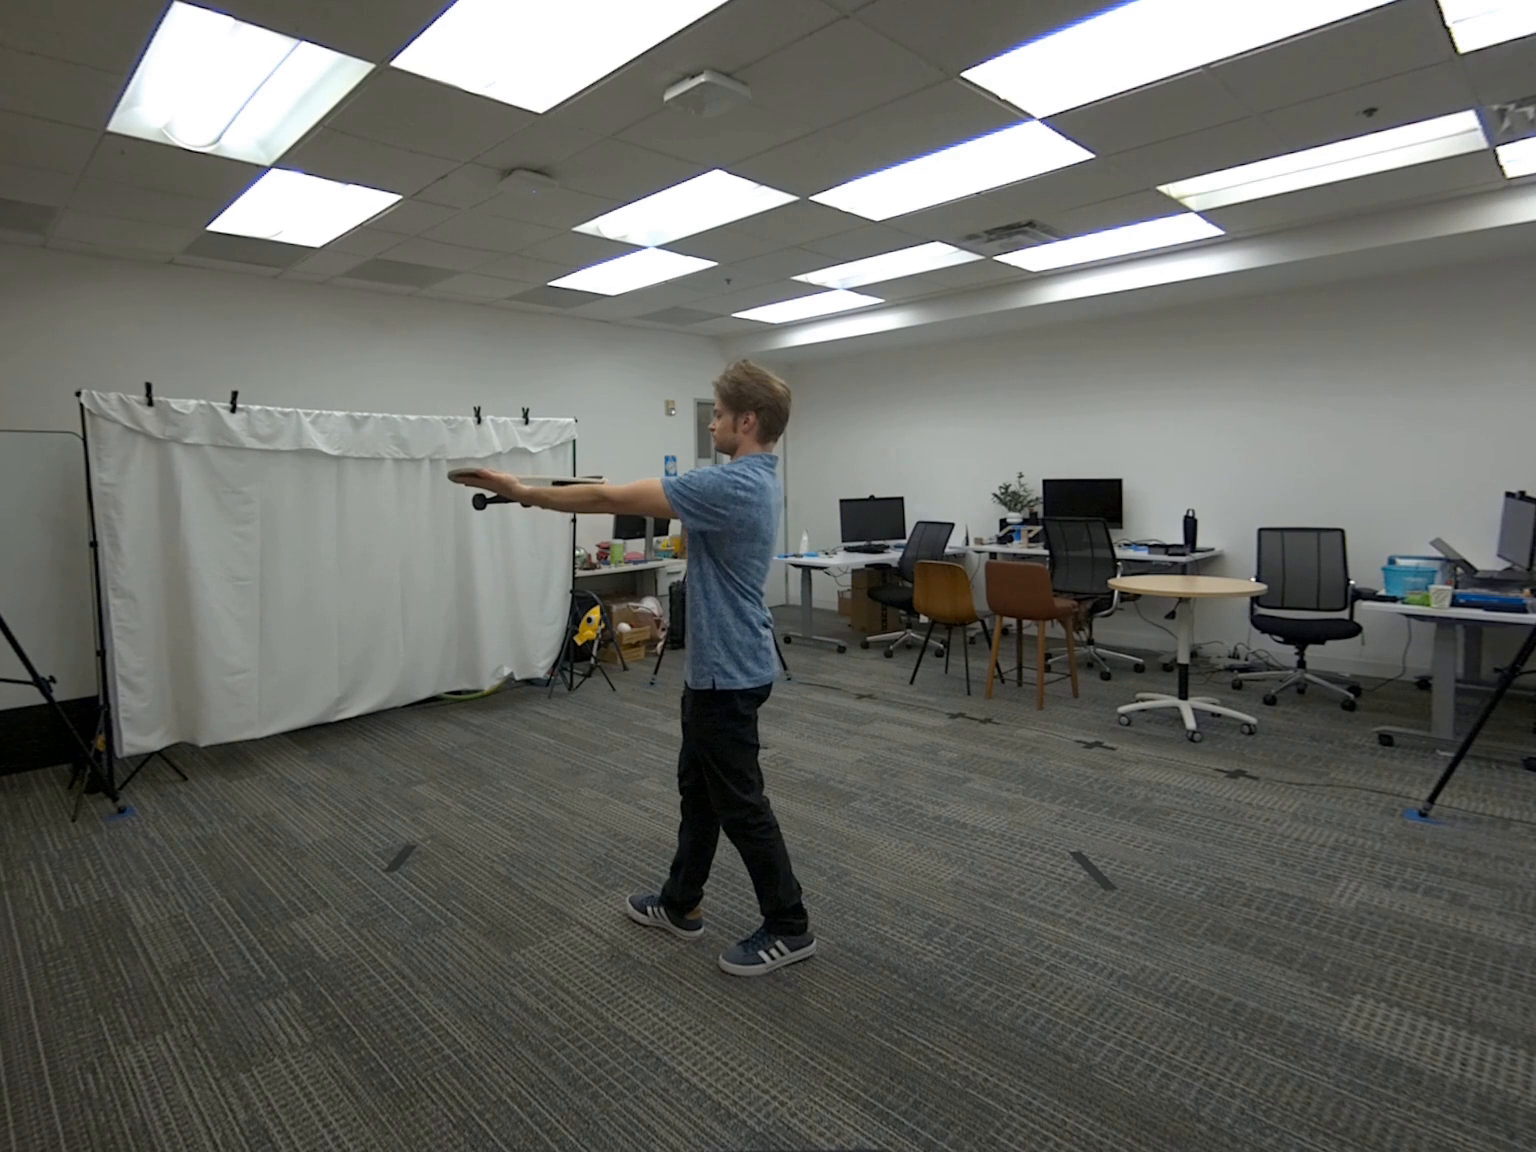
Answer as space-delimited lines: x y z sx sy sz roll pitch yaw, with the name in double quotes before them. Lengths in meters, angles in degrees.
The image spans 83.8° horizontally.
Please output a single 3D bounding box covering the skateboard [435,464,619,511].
"skateboard" -0.705 -0.263 2.634 0.196 0.110 0.776 -2 4 13
